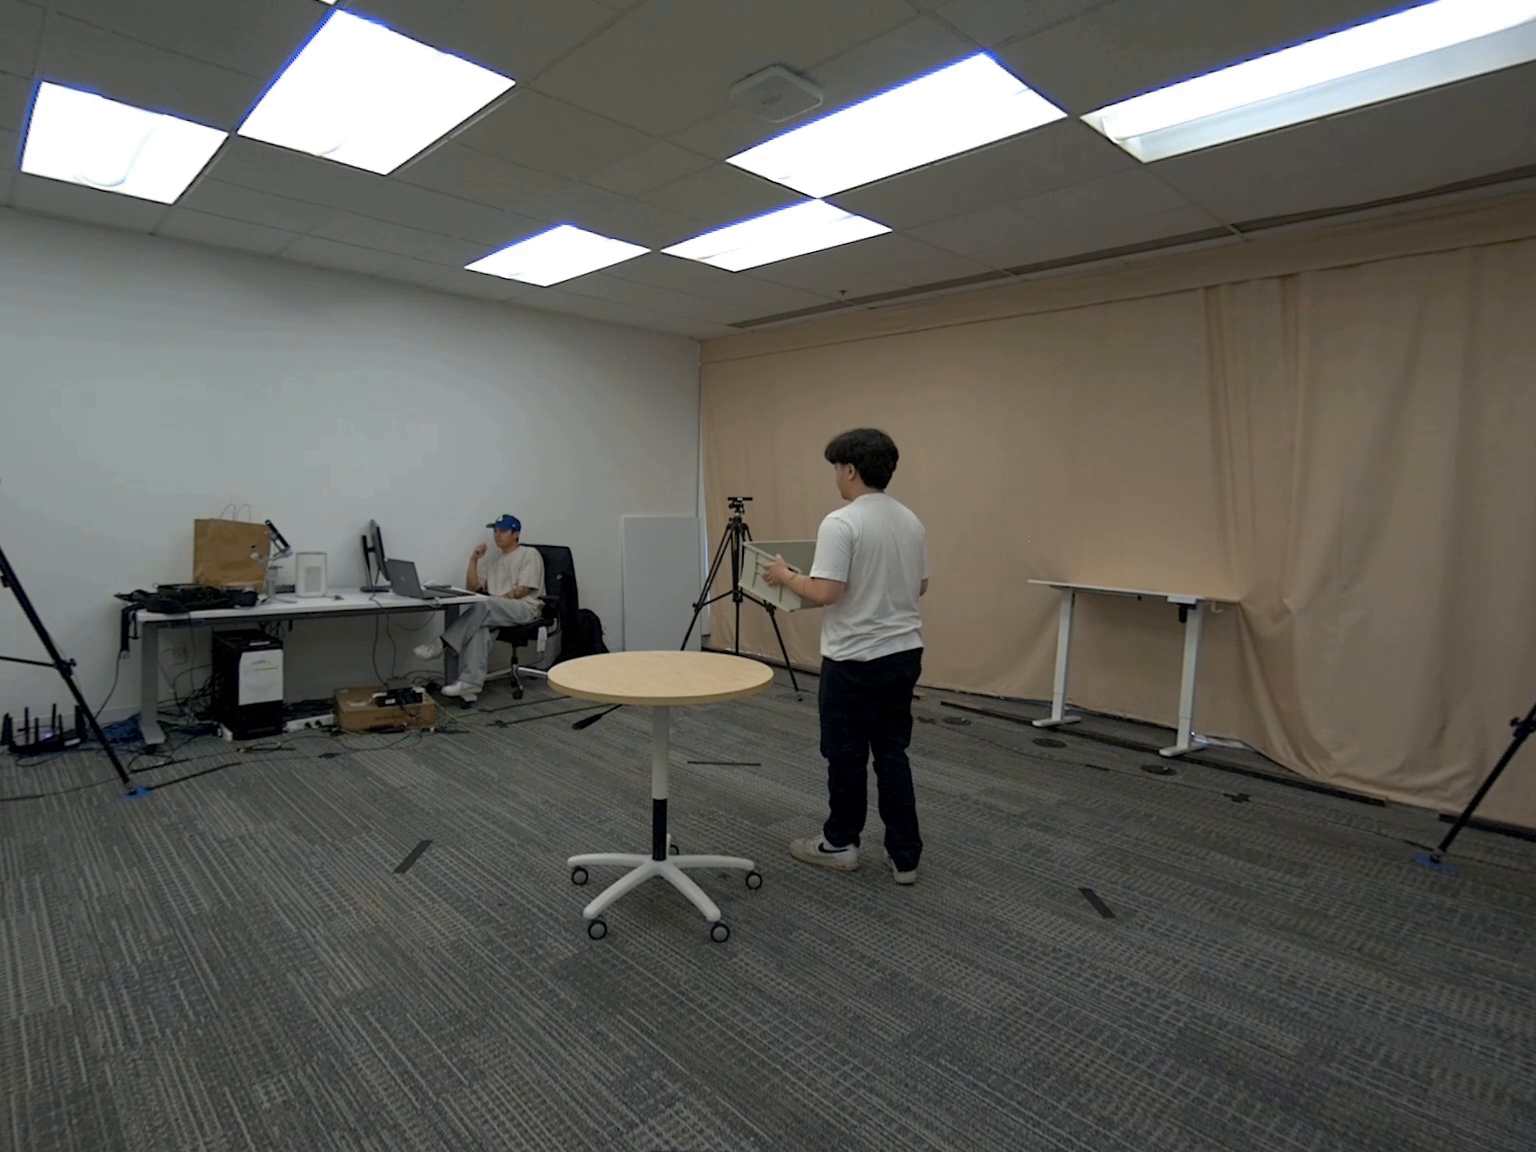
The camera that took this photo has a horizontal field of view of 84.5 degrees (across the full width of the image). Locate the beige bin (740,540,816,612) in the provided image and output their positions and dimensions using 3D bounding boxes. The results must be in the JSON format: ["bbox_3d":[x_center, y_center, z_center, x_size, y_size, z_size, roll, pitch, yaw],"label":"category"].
[{"bbox_3d":[0.157,0.002,3.423,0.413,0.187,0.389,-4,19,-39],"label":"beige bin"}]
